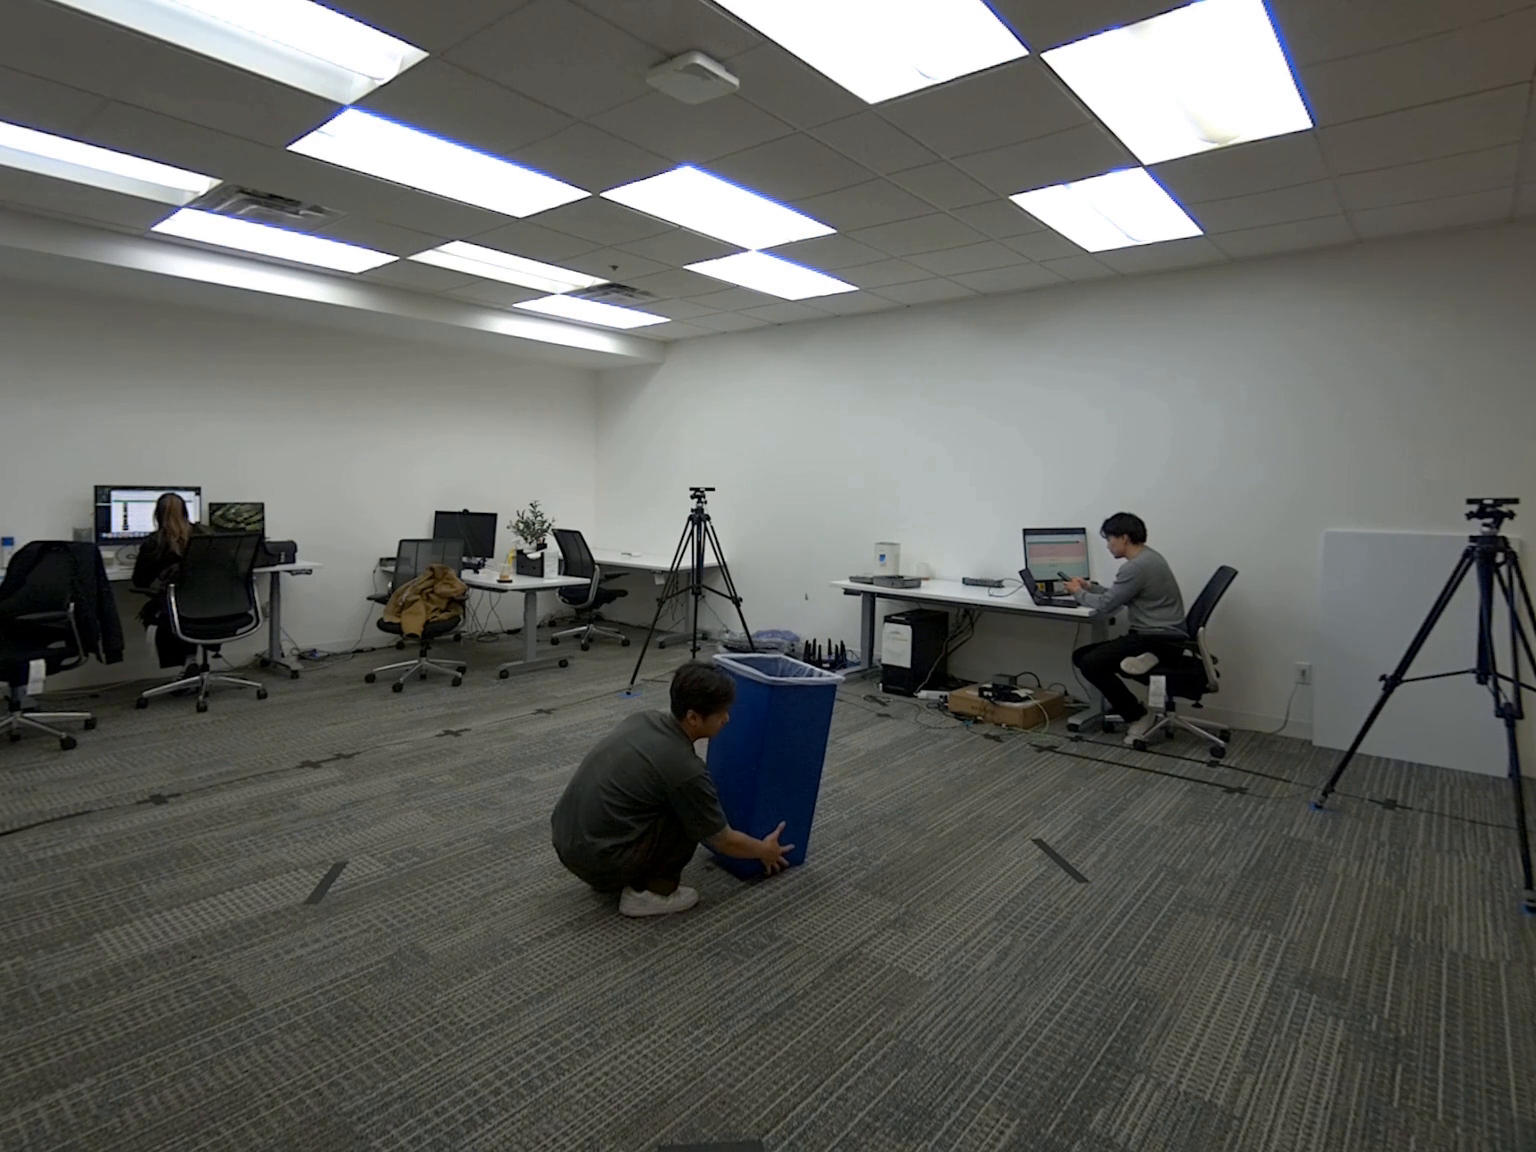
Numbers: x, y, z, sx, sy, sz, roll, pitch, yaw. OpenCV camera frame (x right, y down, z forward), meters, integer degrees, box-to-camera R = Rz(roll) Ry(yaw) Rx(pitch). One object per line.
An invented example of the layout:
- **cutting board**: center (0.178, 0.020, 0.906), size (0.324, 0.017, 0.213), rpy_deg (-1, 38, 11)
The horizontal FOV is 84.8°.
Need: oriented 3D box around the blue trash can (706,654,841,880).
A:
- **blue trash can**: center (-0.035, 0.679, 3.193), size (0.365, 0.712, 0.387), rpy_deg (6, 4, -39)
